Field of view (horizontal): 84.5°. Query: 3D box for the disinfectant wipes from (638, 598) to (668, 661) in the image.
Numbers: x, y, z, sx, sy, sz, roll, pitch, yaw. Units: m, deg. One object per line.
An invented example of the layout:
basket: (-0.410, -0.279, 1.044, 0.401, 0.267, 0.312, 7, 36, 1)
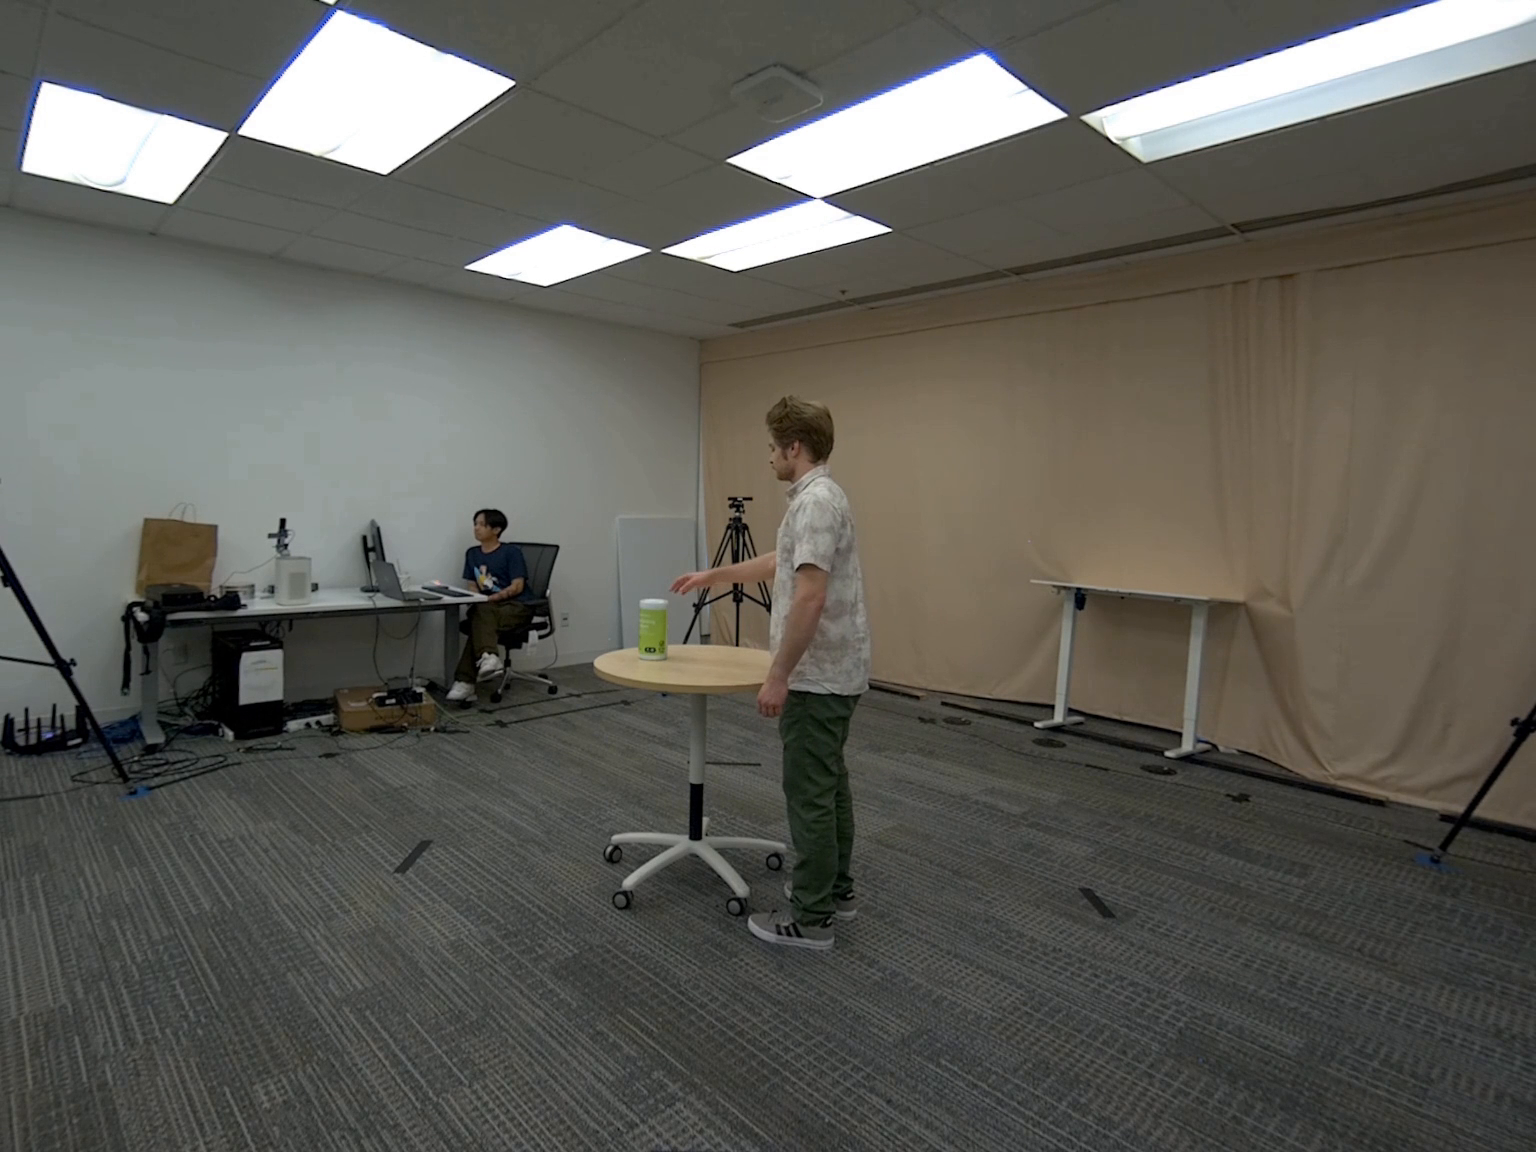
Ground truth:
disinfectant wipes: (-0.430, 0.198, 3.120, 0.118, 0.217, 0.118, 3, 3, -2)
